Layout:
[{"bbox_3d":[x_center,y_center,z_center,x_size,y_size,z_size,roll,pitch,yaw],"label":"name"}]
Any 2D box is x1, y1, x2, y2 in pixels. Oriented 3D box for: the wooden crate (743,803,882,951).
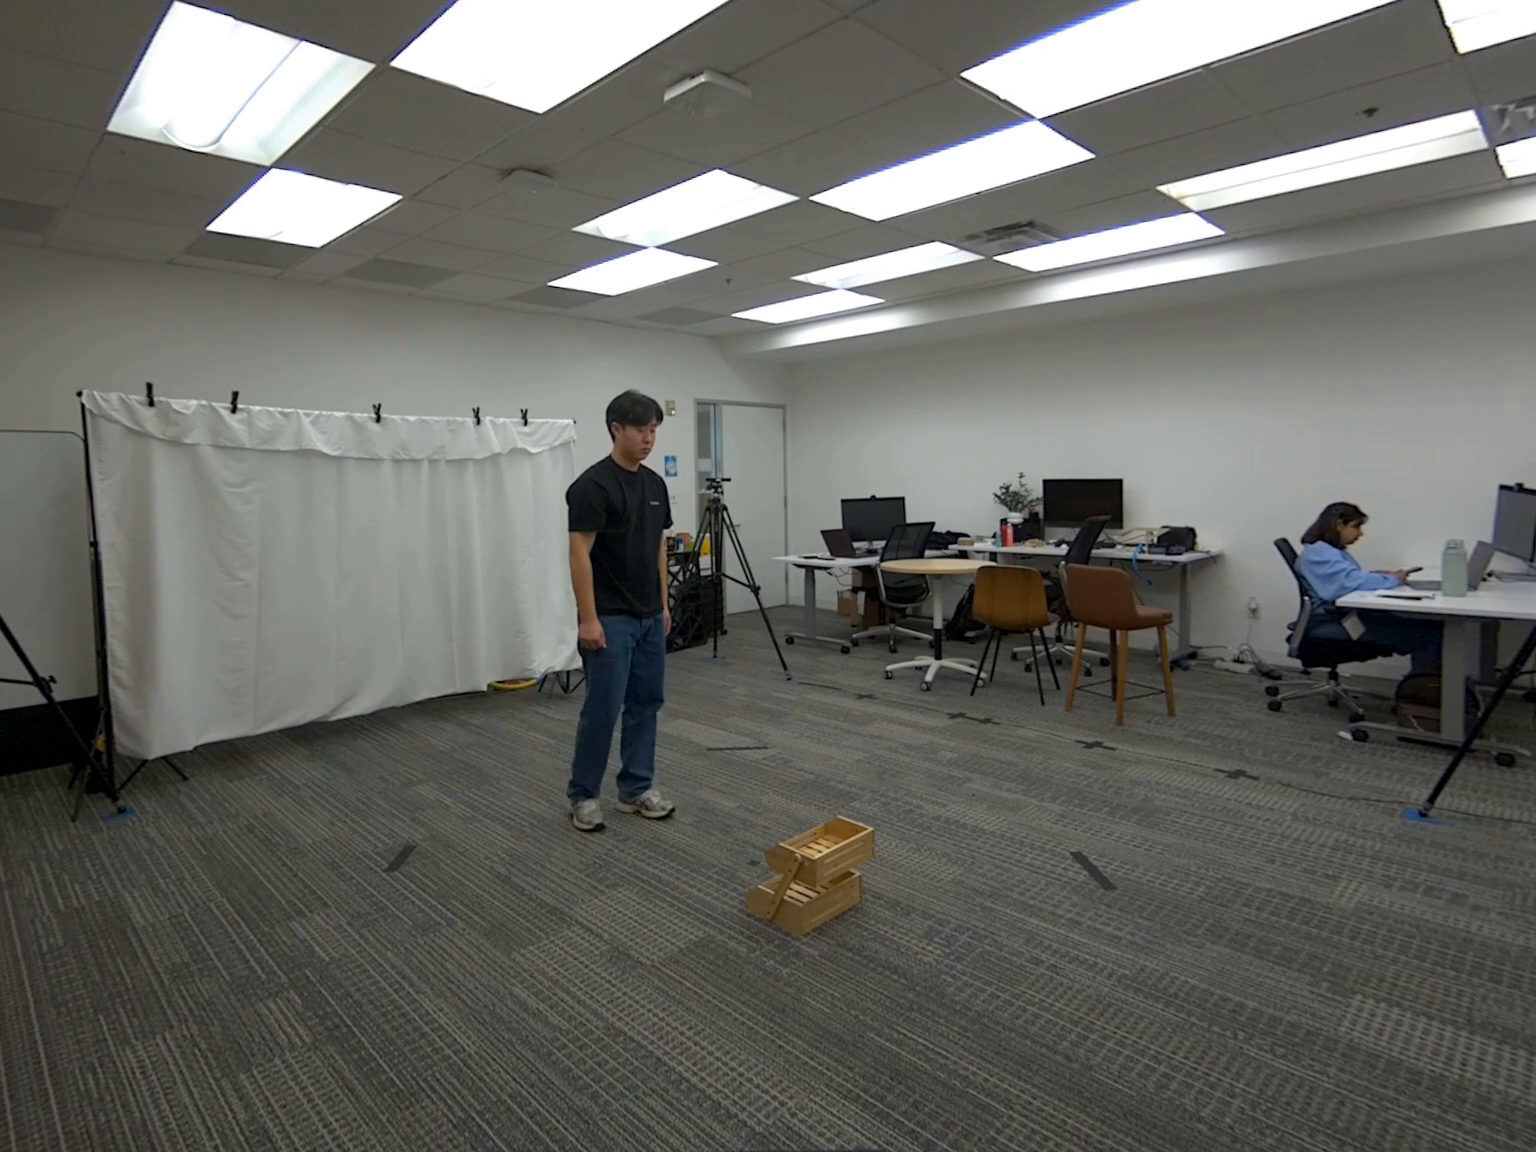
[{"bbox_3d":[0.143,0.954,2.771,0.311,0.272,0.316,5,9,44],"label":"wooden crate"}]
